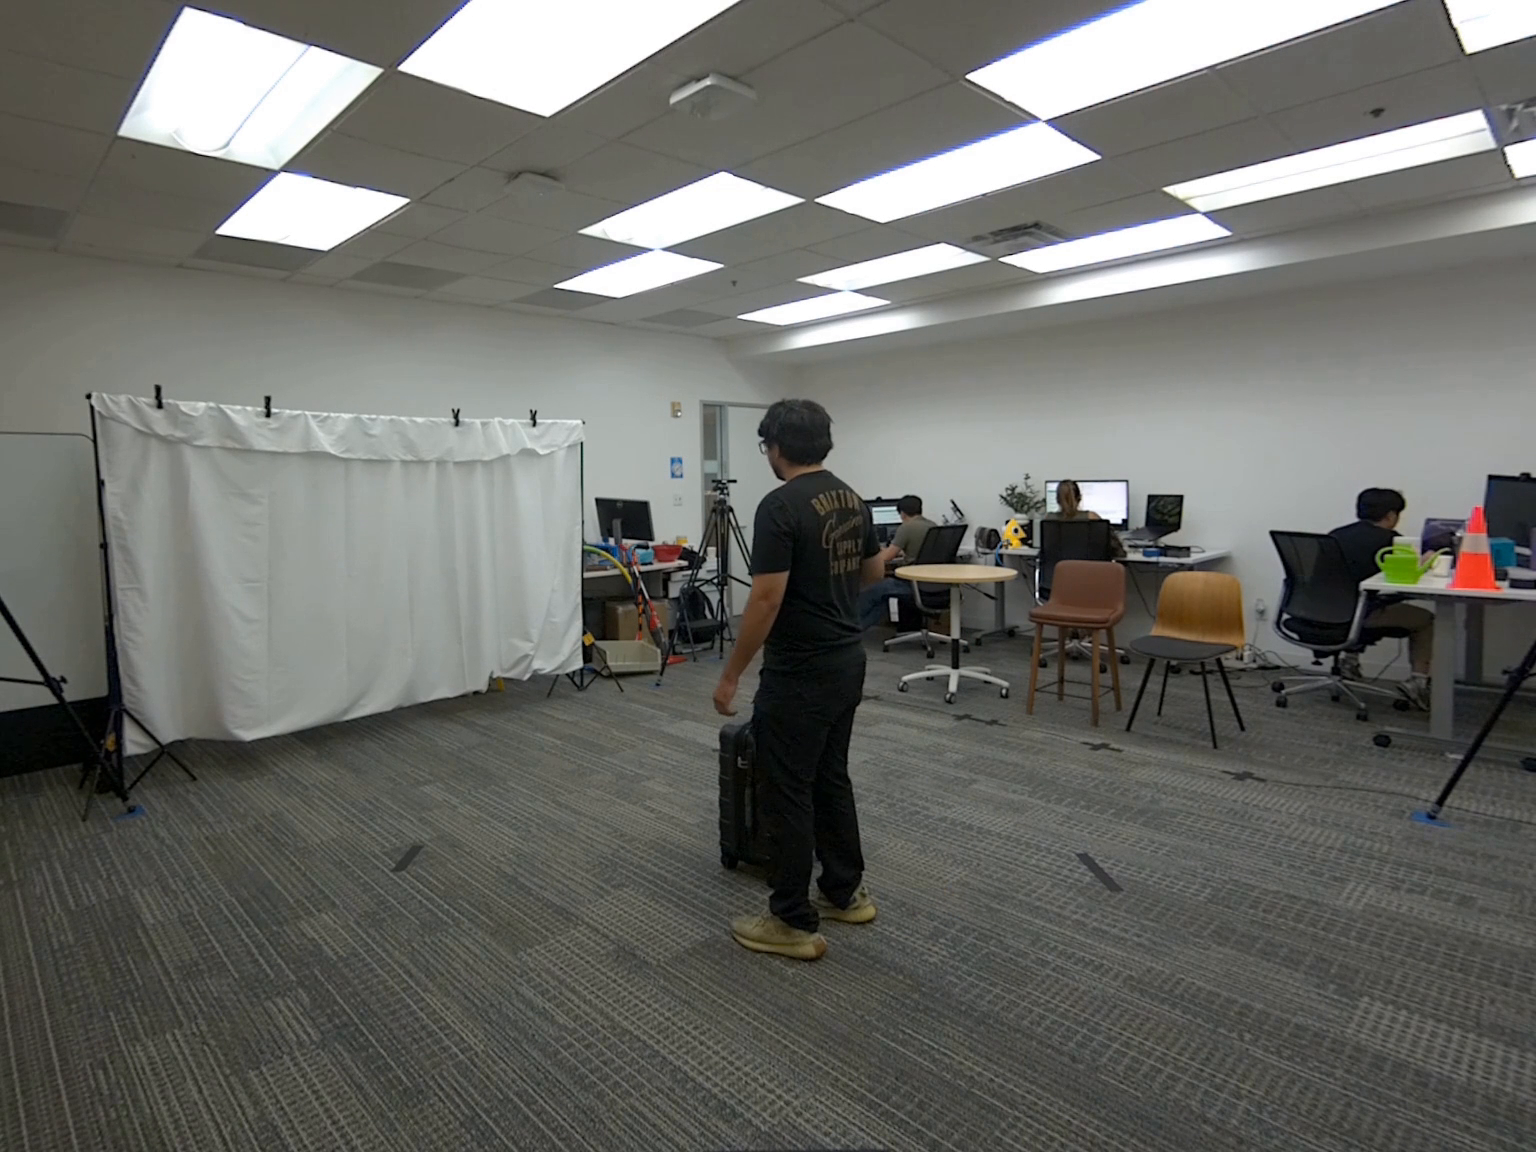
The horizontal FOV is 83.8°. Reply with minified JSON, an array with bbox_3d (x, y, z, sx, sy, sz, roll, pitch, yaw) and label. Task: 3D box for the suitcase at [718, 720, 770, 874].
[{"bbox_3d":[0.006,0.571,3.094,0.264,0.977,0.374,-1,3,42],"label":"suitcase"}]
